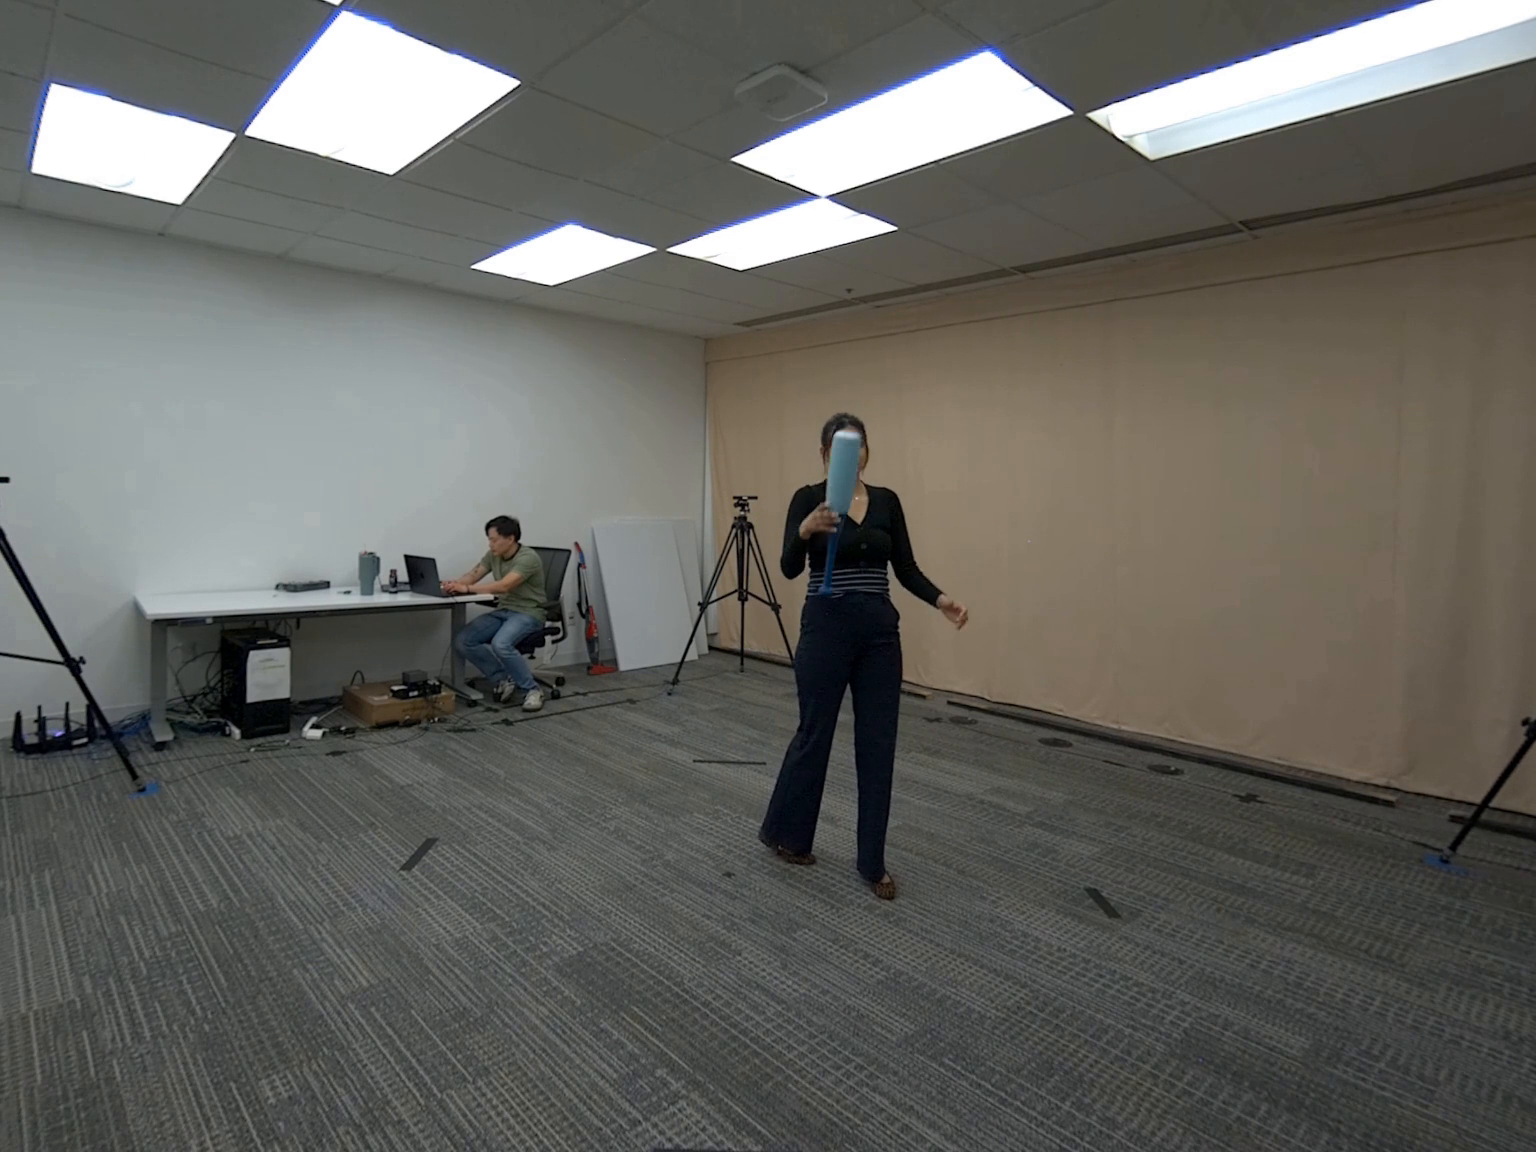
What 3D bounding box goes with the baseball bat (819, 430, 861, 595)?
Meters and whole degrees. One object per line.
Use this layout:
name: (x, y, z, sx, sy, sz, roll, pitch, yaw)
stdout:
baseball bat: (0.215, -0.156, 2.680, 0.089, 0.536, 0.090, 6, 21, -4)
